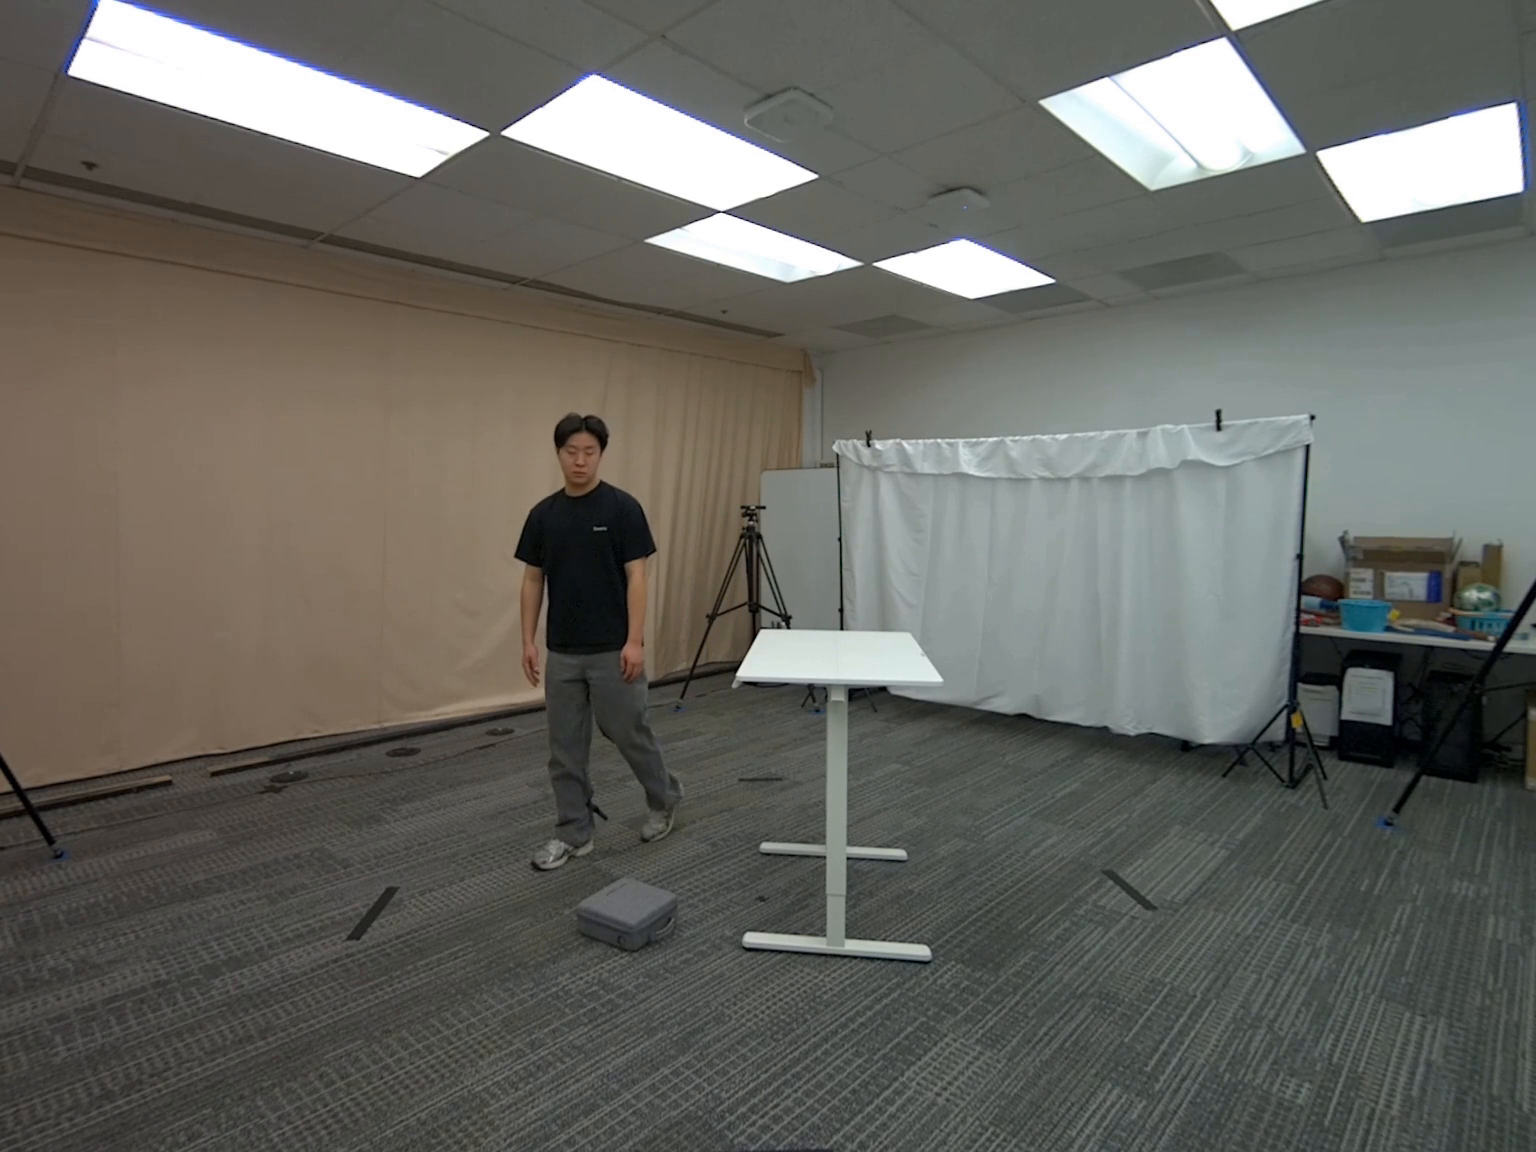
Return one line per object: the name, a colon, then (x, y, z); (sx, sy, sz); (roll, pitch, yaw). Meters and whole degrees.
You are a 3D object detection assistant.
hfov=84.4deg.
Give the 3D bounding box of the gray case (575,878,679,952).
gray case: (-0.450, 1.114, 2.769); (0.296, 0.103, 0.256); (4, 6, 32)
